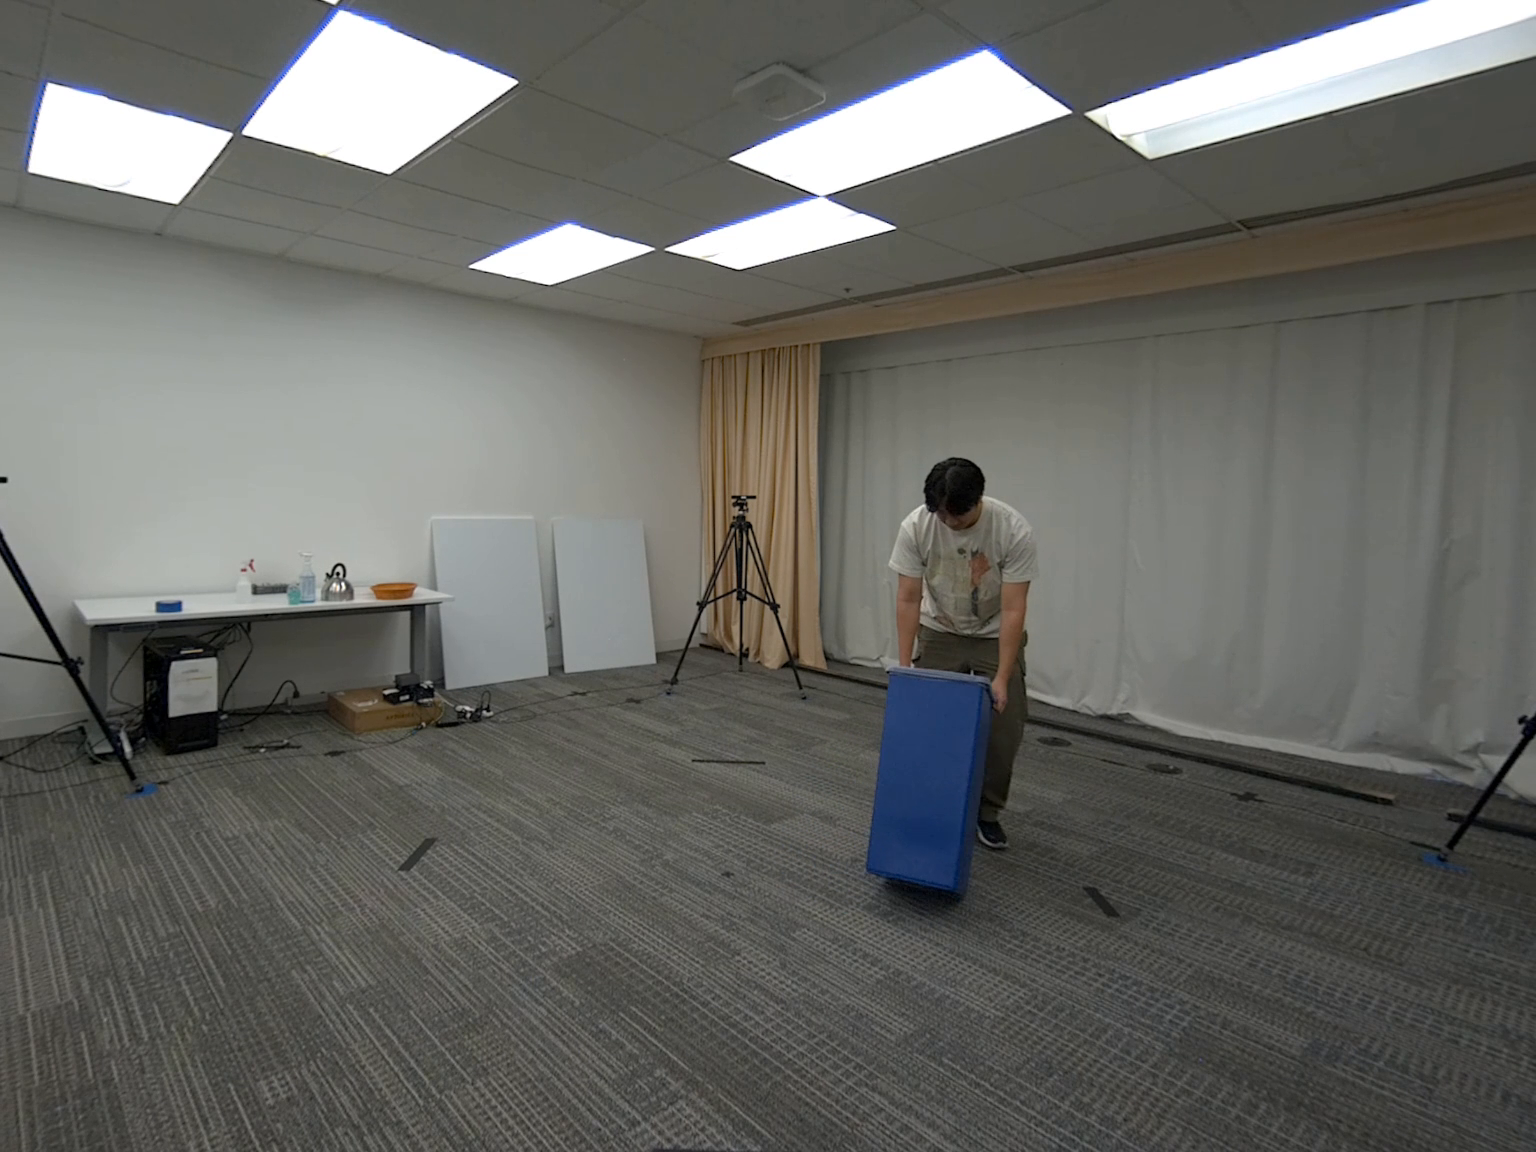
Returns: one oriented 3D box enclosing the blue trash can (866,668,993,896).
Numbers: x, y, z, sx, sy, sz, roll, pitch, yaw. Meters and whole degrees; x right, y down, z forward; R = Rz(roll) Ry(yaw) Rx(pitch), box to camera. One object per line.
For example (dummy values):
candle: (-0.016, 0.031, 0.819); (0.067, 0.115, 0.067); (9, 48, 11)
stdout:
blue trash can: (0.580, 0.734, 3.019); (0.385, 0.721, 0.363); (3, -22, 23)
